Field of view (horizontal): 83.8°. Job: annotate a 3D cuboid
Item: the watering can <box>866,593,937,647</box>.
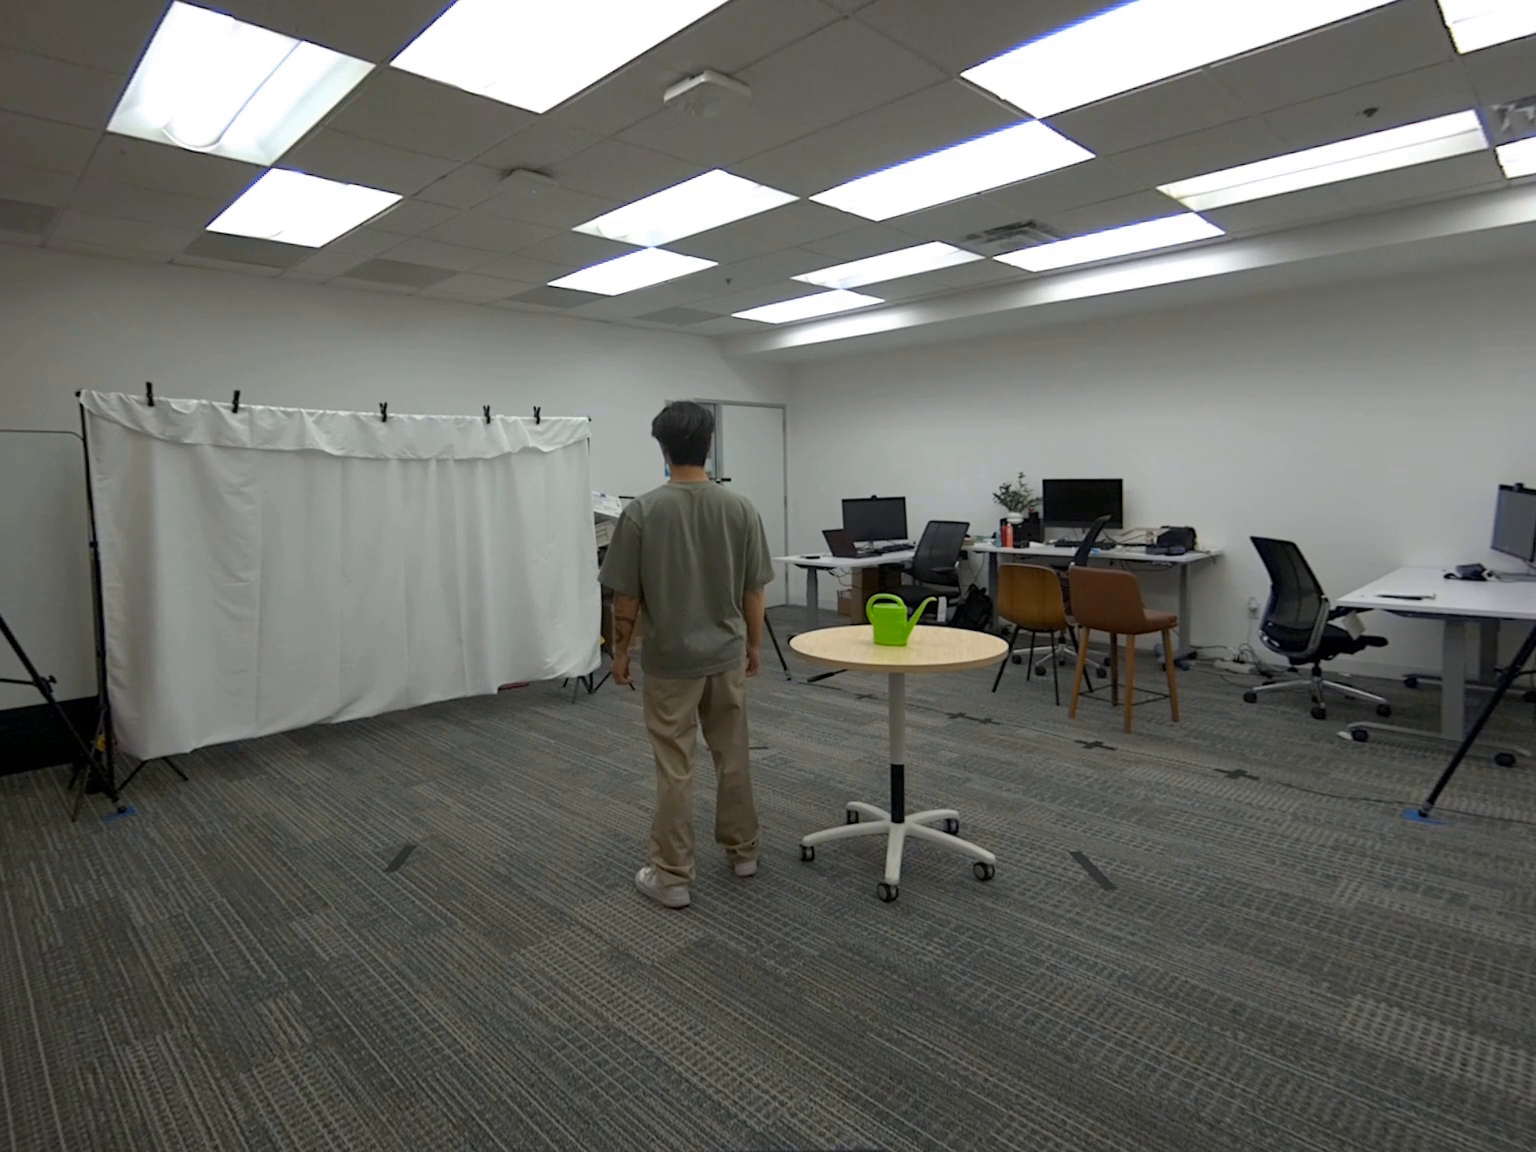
[{"bbox_3d":[0.462,0.158,3.020,0.095,0.176,0.286,-5,6,-34],"label":"watering can"}]
